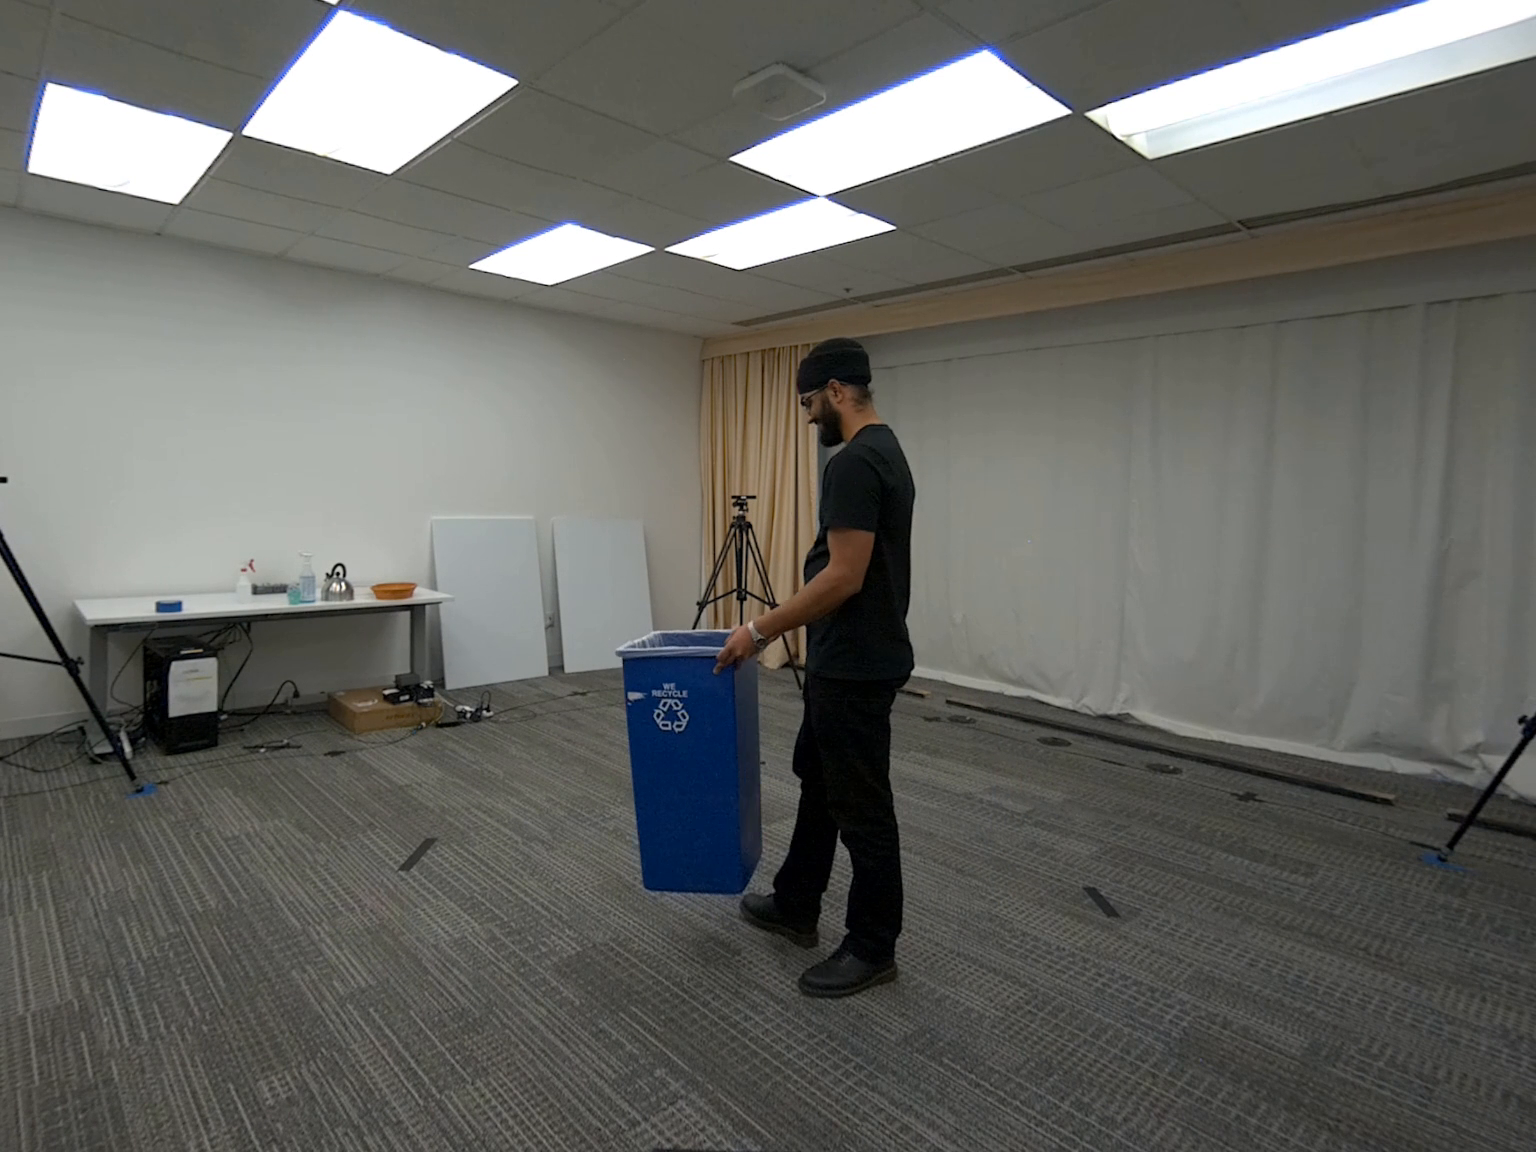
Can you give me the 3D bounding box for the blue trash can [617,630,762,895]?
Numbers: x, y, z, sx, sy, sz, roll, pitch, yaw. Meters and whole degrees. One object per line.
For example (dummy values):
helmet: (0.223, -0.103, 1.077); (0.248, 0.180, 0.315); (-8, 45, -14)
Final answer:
blue trash can: (-0.201, 0.552, 2.546); (0.378, 0.713, 0.374); (-3, 2, 14)
